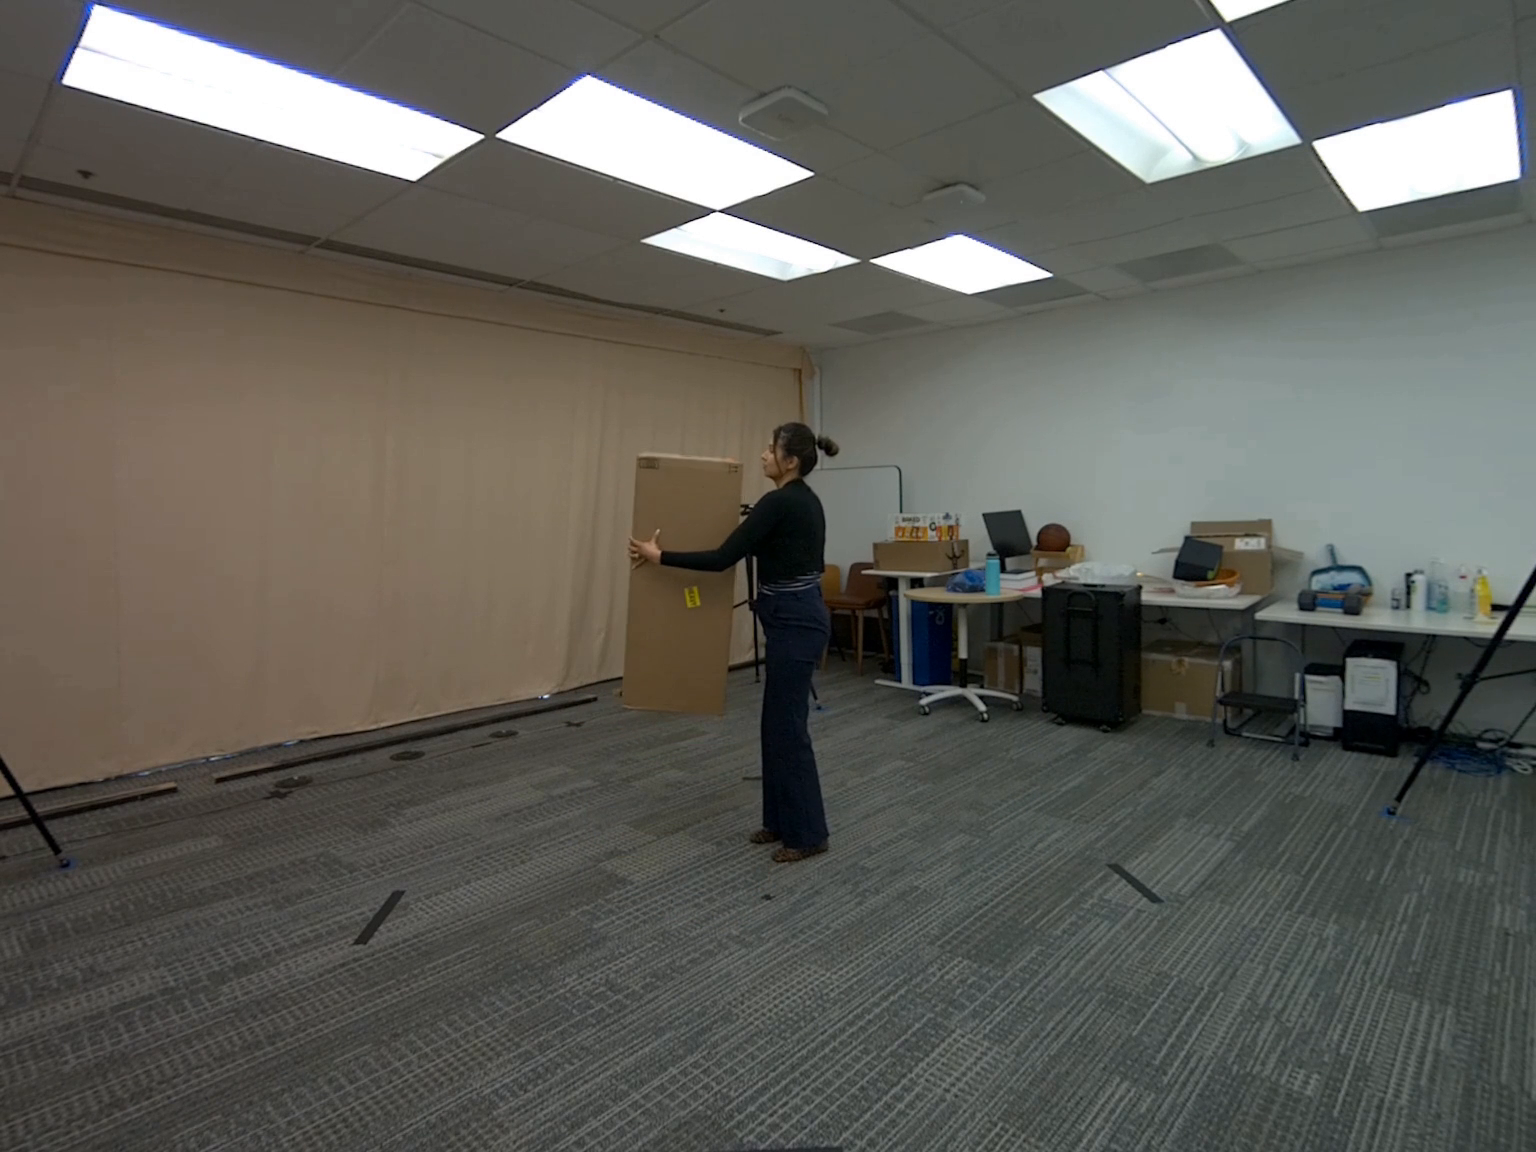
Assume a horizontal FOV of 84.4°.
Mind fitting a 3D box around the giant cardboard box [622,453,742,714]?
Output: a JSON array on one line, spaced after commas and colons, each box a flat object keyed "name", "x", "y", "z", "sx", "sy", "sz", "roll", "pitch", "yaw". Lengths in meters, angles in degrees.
[{"name": "giant cardboard box", "x": -0.372, "y": 0.002, "z": 3.626, "sx": 0.424, "sy": 1.021, "sz": 0.582, "roll": 4, "pitch": 8, "yaw": -5}]
